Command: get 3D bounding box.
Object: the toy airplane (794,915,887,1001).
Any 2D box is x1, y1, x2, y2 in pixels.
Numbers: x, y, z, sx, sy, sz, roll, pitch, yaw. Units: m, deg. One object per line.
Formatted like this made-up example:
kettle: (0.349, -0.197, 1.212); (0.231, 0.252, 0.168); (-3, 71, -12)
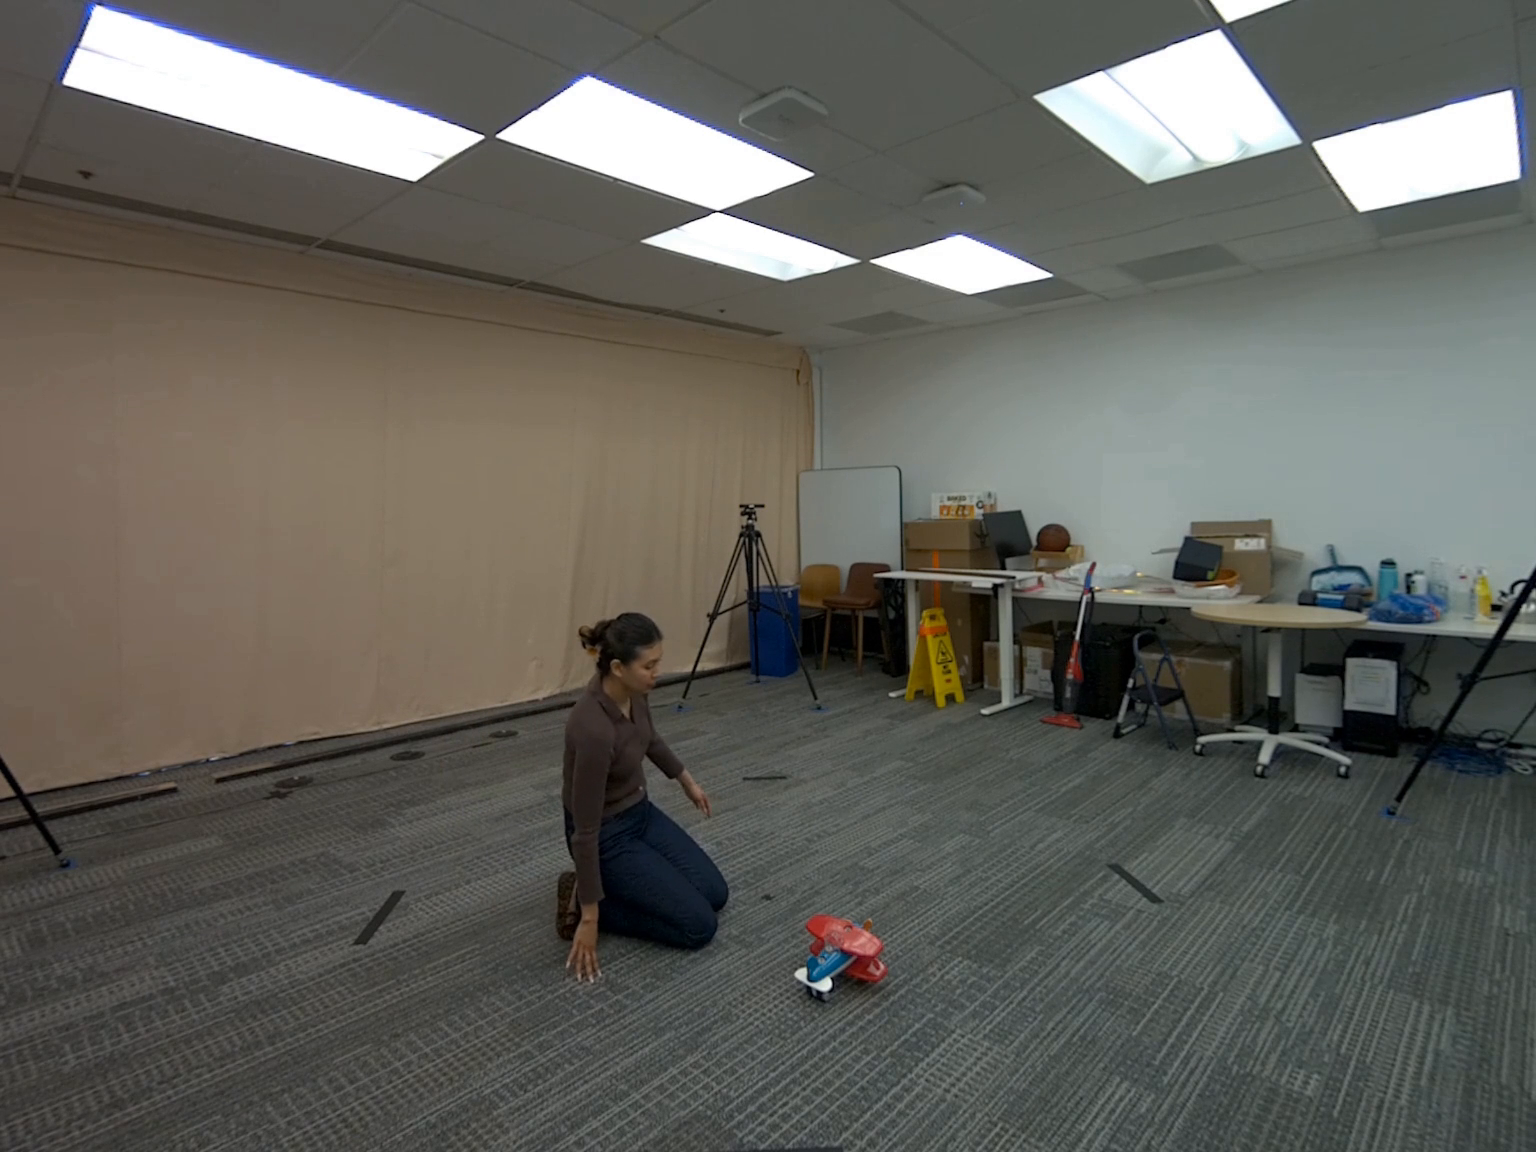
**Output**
toy airplane: (0.221, 1.115, 2.412); (0.256, 0.156, 0.254); (2, 2, 18)
